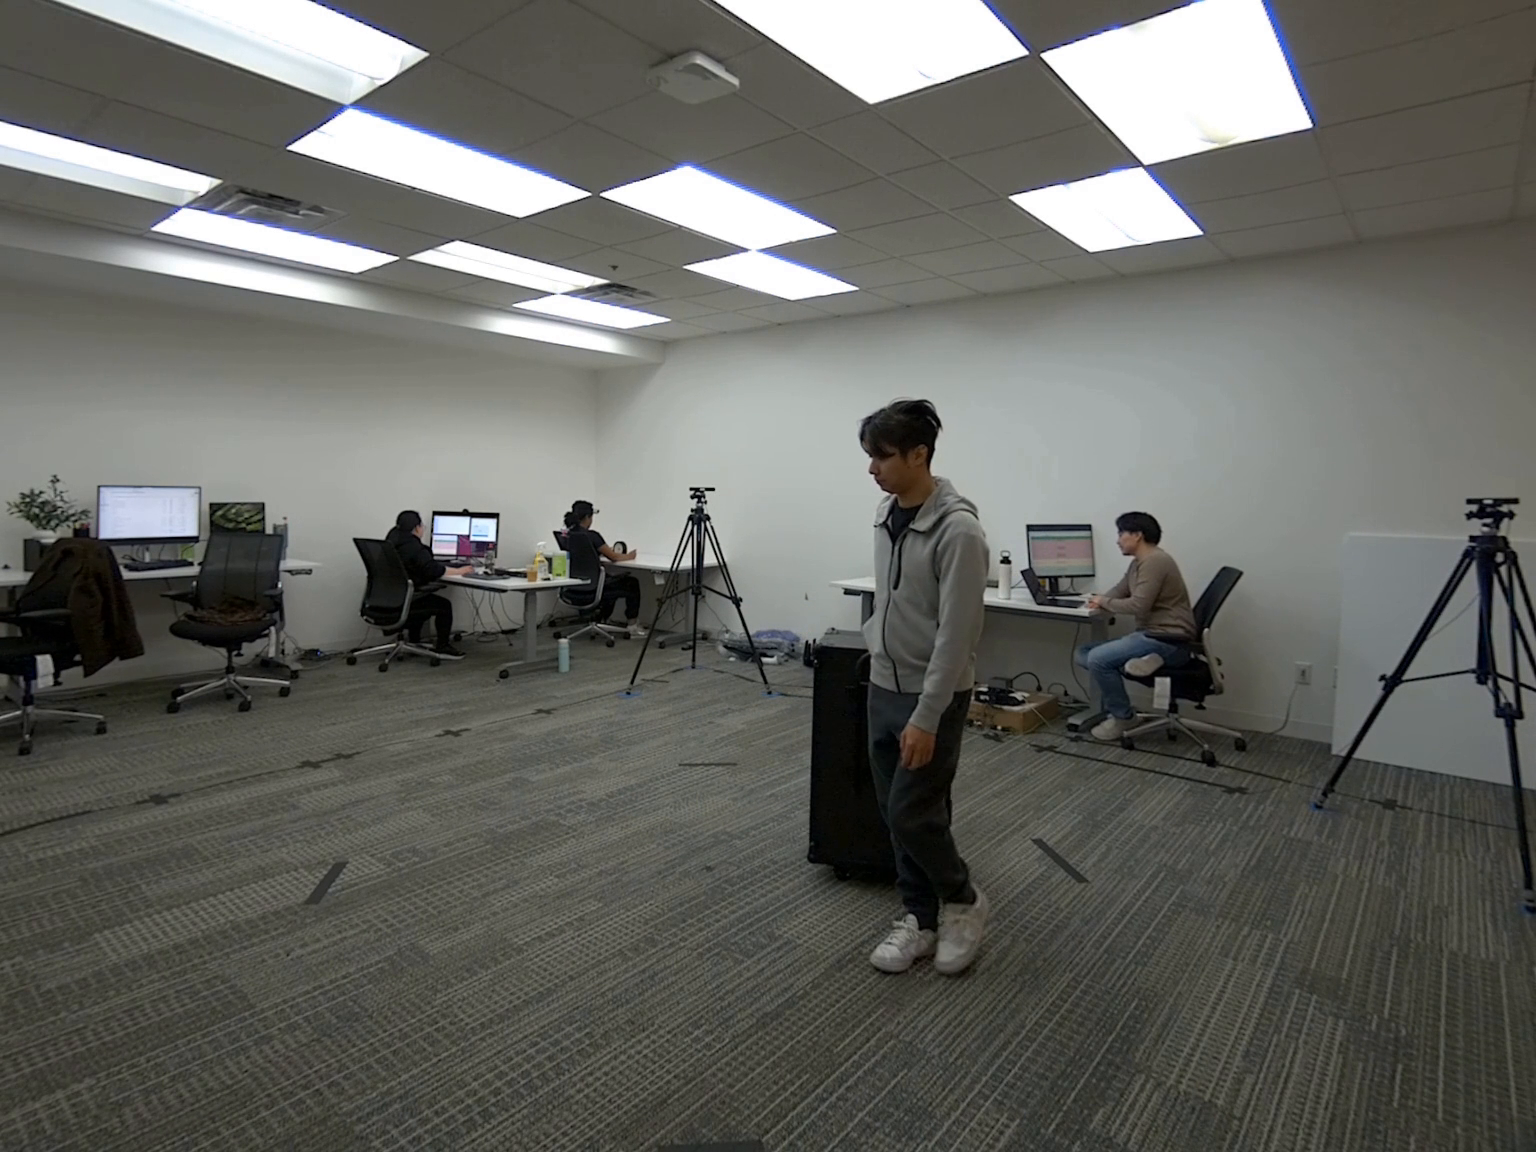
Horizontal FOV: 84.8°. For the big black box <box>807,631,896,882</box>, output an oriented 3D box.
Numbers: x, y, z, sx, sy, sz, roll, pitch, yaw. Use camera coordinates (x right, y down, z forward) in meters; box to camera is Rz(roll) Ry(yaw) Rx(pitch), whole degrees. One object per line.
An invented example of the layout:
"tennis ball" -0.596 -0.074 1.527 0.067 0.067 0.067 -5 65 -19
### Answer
"big black box" 0.414 0.657 3.090 0.530 0.858 0.391 2 5 15
